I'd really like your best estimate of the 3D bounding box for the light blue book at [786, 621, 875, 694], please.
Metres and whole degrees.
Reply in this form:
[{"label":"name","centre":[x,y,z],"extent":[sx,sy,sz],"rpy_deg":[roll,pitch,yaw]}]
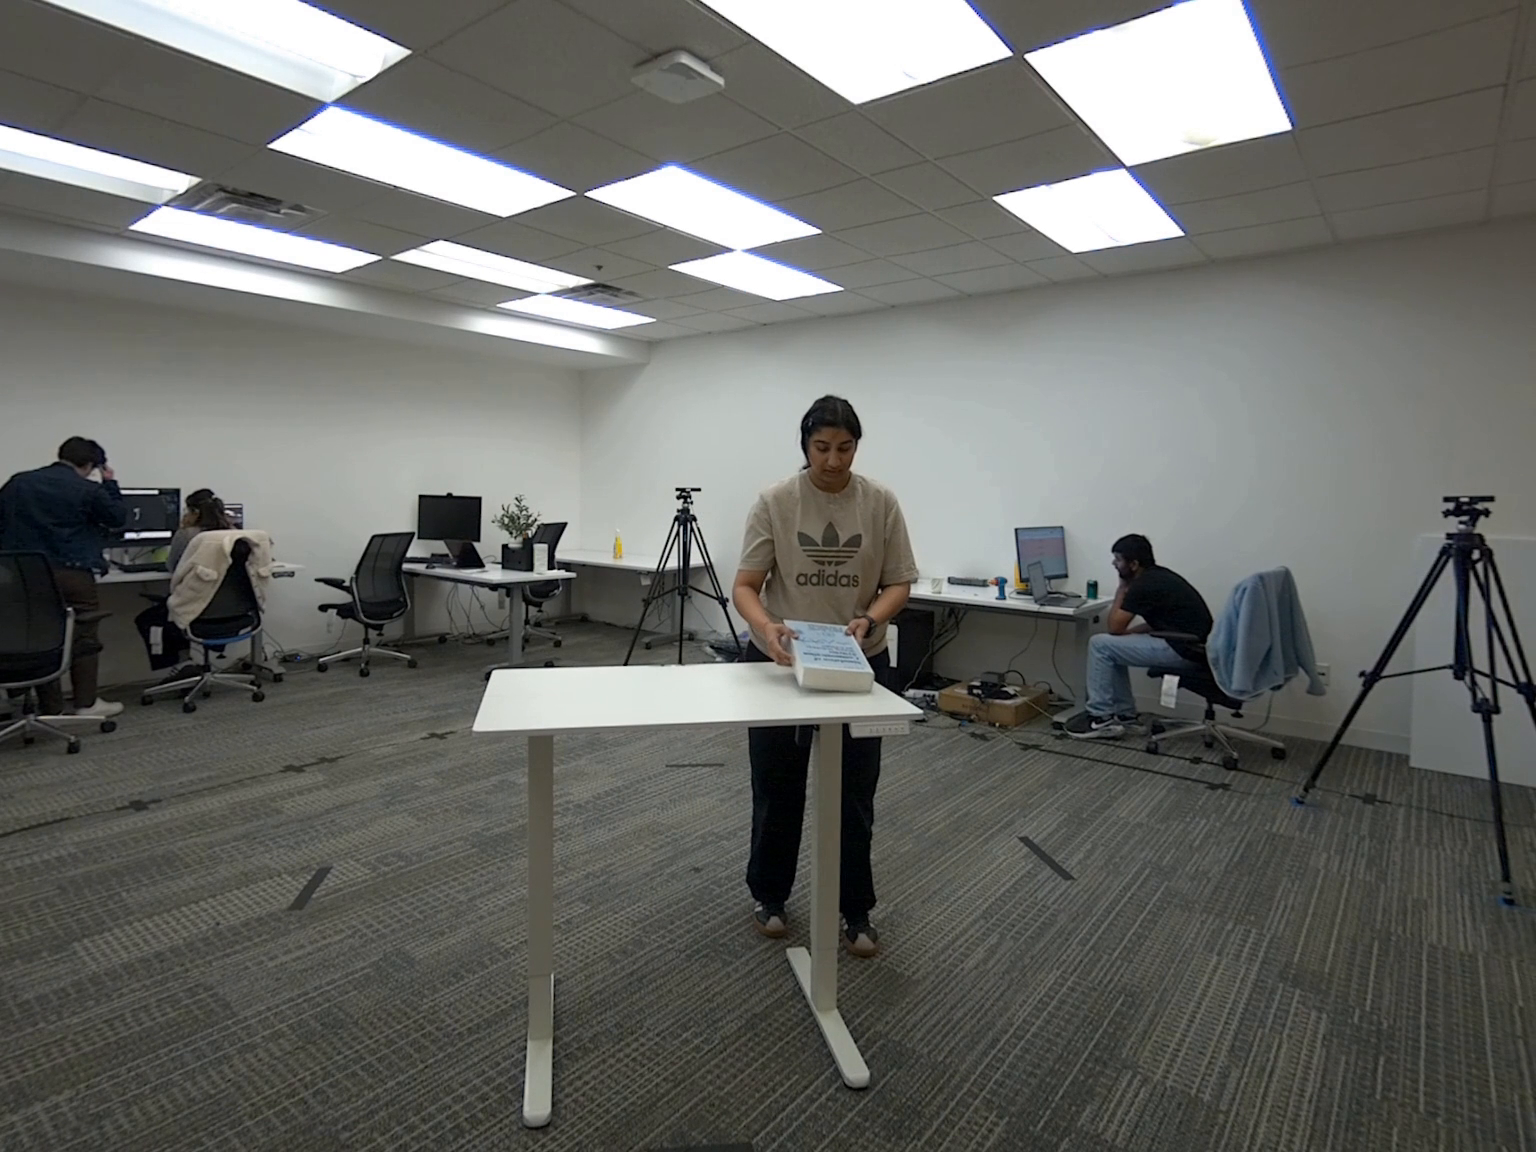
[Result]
[{"label":"light blue book","centre":[0.181,0.219,2.192],"extent":[0.259,0.058,0.195],"rpy_deg":[7,17,-7]}]
